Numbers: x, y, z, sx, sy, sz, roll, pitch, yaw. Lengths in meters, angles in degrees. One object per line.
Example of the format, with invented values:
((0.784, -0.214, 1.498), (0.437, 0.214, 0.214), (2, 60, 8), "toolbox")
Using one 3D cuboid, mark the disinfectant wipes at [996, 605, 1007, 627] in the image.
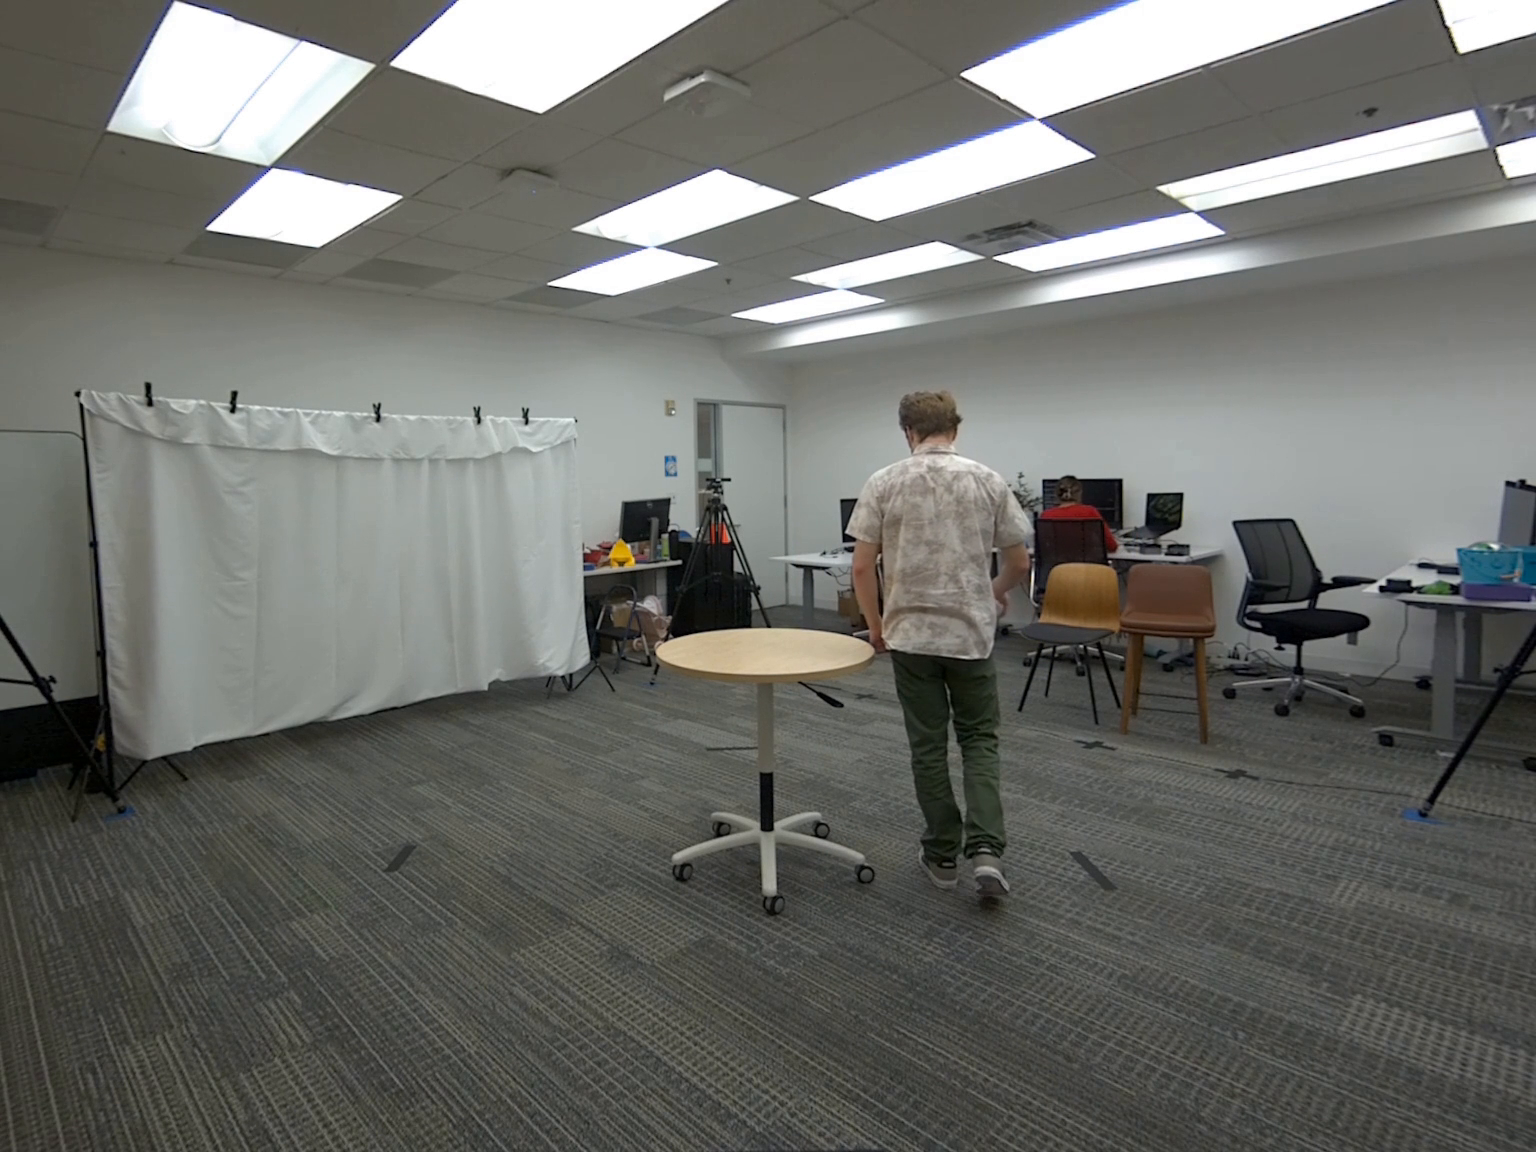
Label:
((0.815, 0.186, 3.270), (0.116, 0.216, 0.120), (22, 21, -11), "disinfectant wipes")
